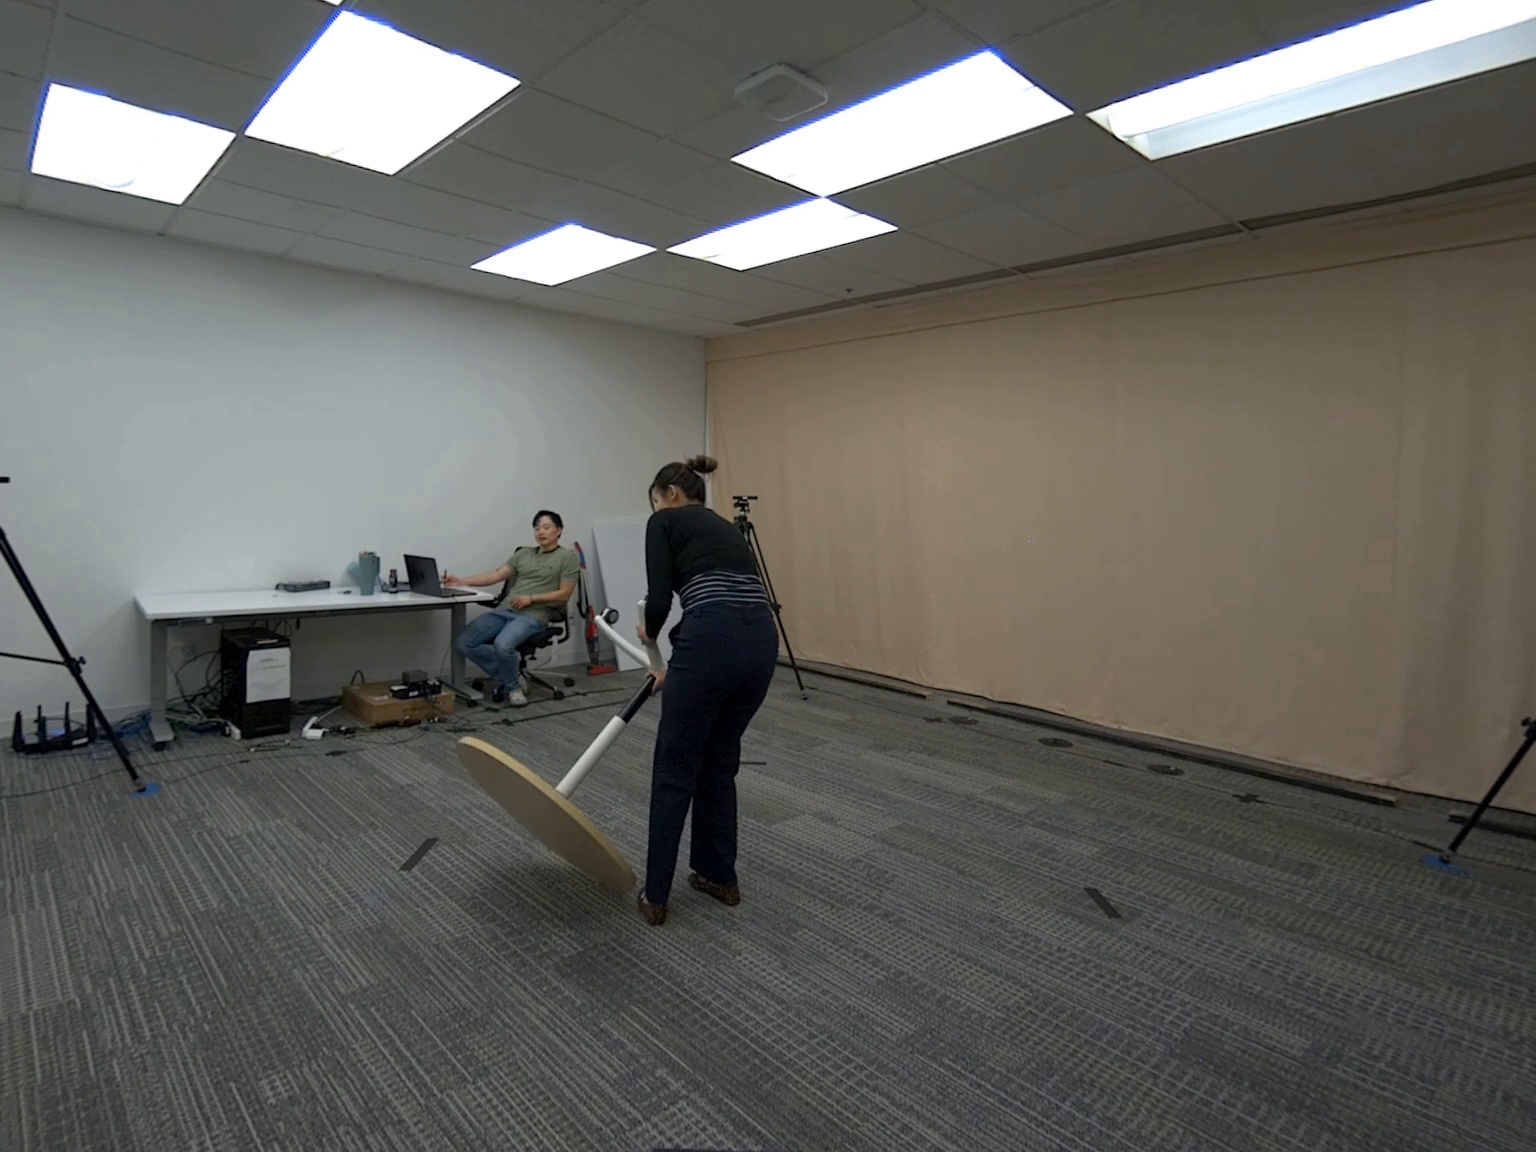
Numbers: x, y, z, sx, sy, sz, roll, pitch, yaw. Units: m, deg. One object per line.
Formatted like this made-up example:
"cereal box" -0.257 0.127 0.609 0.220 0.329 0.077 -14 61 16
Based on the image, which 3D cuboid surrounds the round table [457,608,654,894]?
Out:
"round table" -0.553 0.550 3.043 0.783 0.743 0.795 5 45 43
